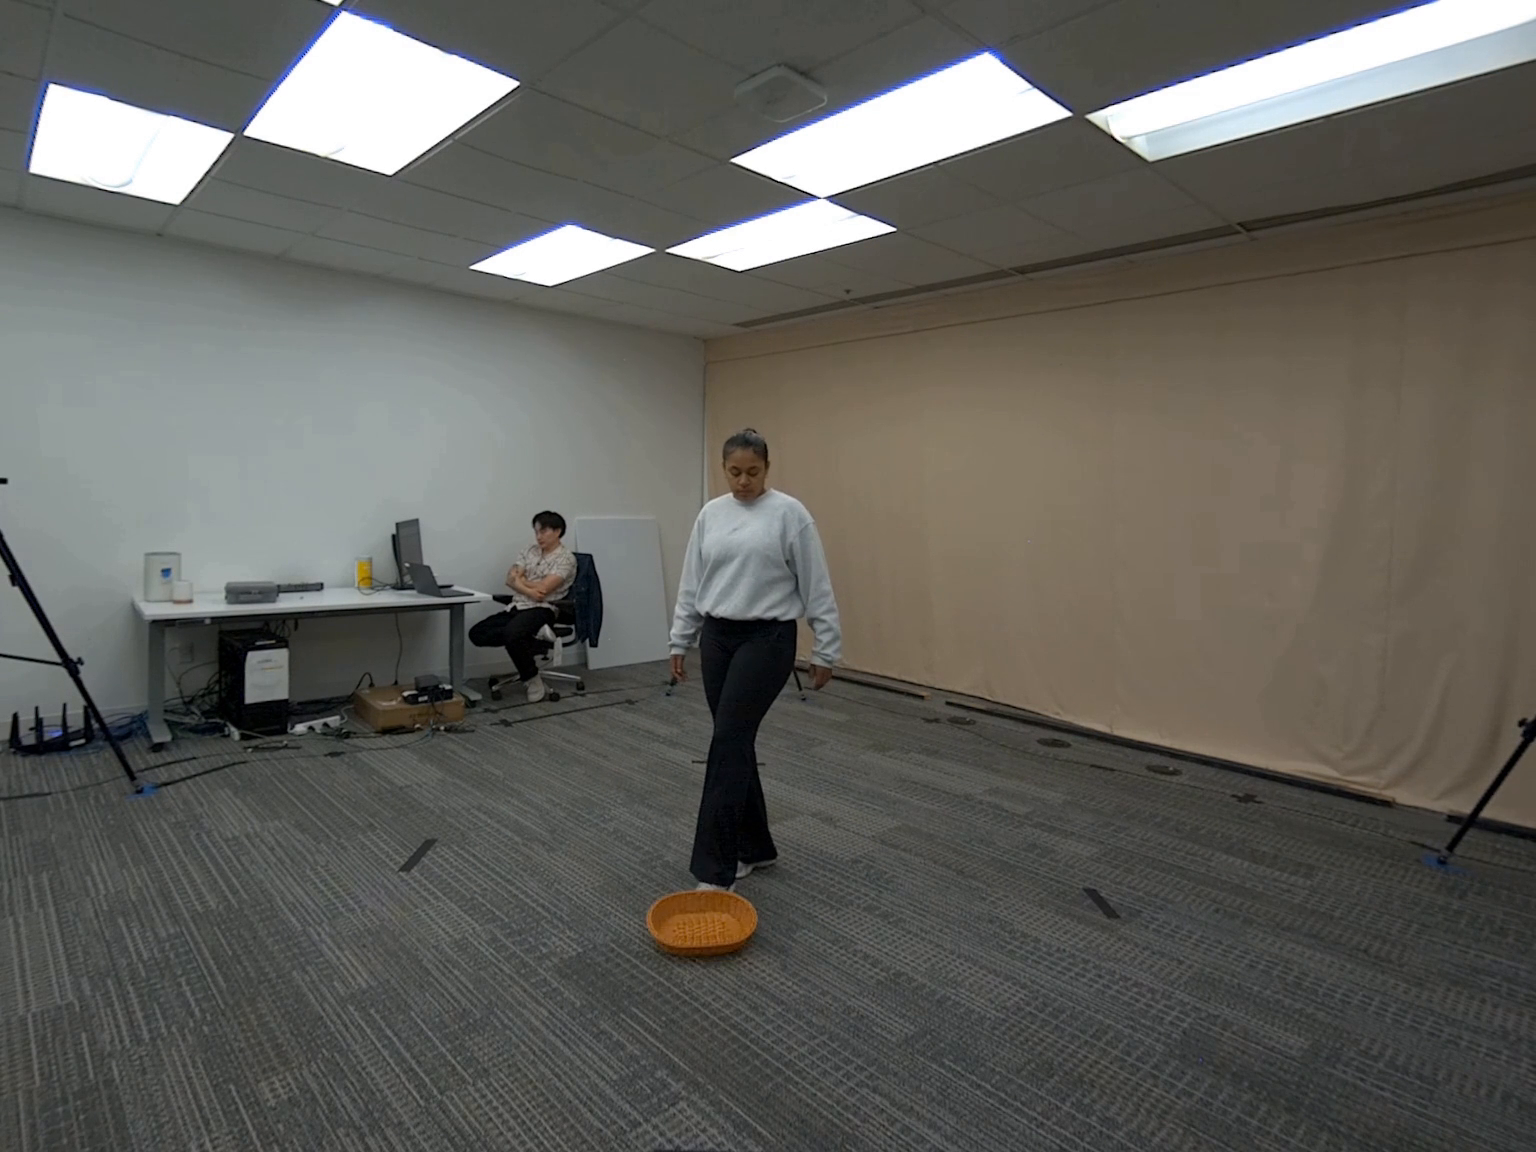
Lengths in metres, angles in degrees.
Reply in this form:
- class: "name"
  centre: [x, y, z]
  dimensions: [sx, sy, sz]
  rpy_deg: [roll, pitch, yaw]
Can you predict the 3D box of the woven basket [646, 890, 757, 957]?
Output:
- class: "woven basket"
  centre: [-0.202, 1.104, 2.623]
  dimensions: [0.349, 0.073, 0.256]
  rpy_deg: [0, 13, -6]
